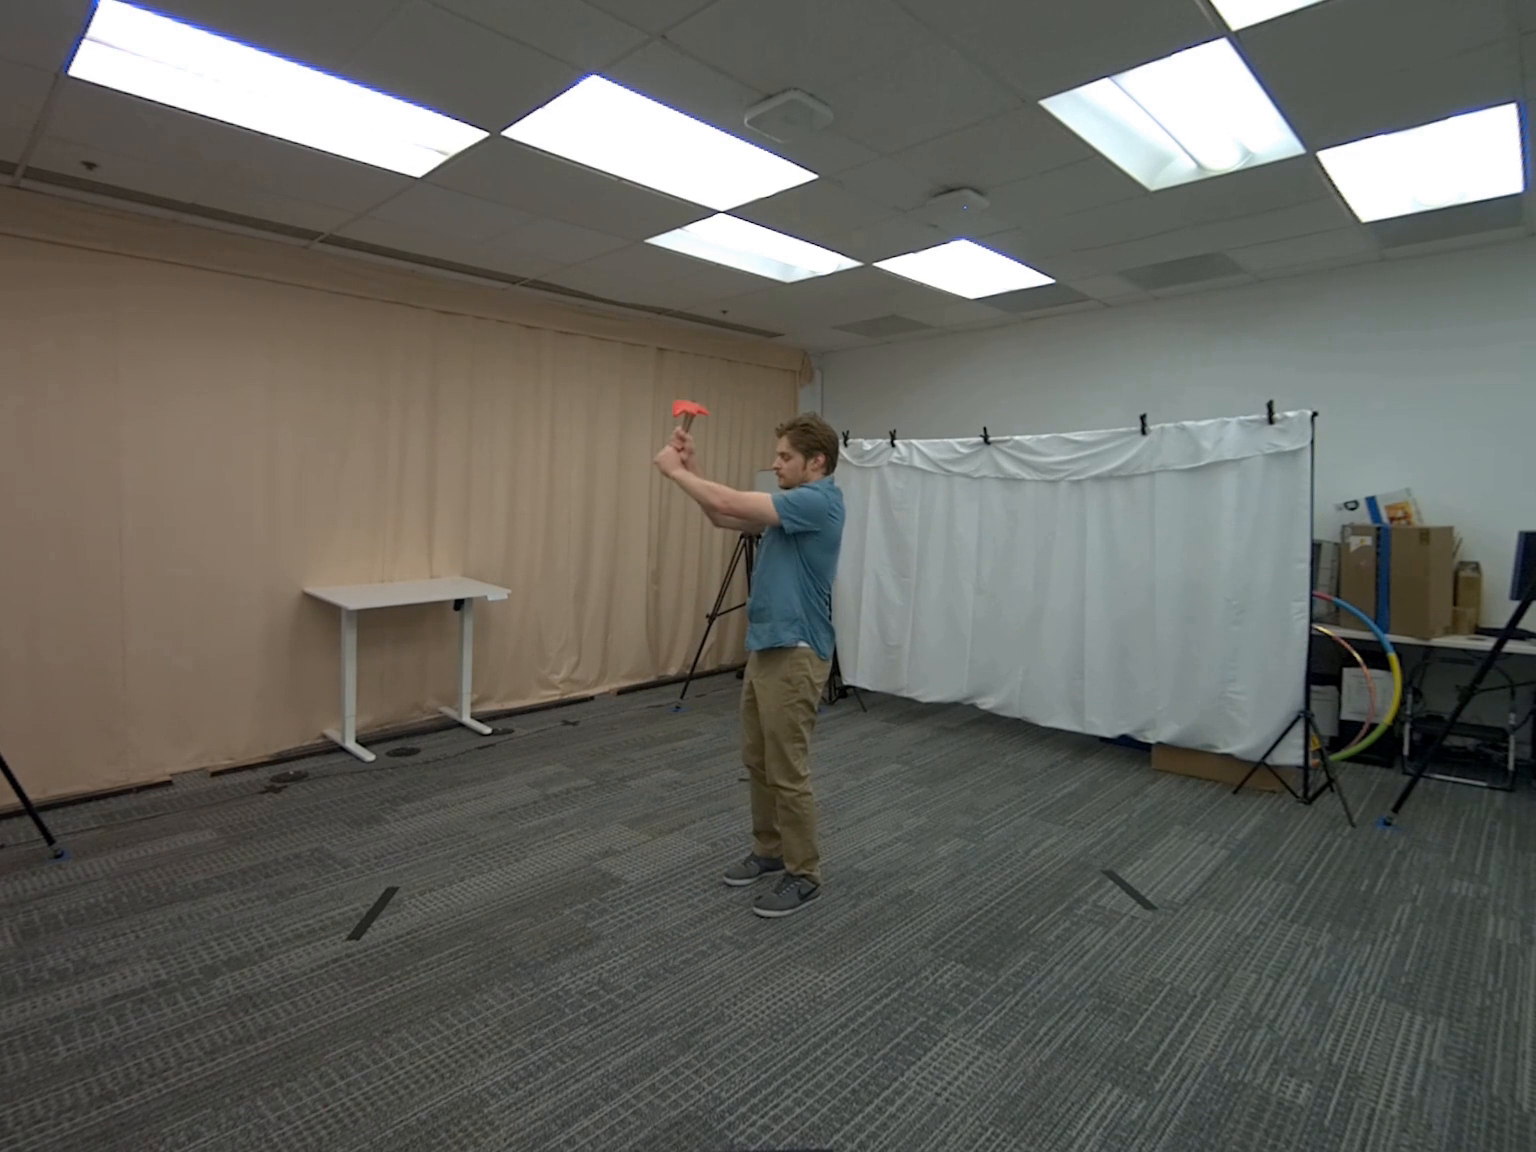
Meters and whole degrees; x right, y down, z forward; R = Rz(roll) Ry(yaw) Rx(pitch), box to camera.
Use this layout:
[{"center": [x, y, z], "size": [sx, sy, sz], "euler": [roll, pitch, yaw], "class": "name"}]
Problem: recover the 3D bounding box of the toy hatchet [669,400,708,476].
[{"center": [-0.319, -0.507, 3.012], "size": [0.131, 0.269, 0.030], "euler": [39, -13, -1], "class": "toy hatchet"}]
